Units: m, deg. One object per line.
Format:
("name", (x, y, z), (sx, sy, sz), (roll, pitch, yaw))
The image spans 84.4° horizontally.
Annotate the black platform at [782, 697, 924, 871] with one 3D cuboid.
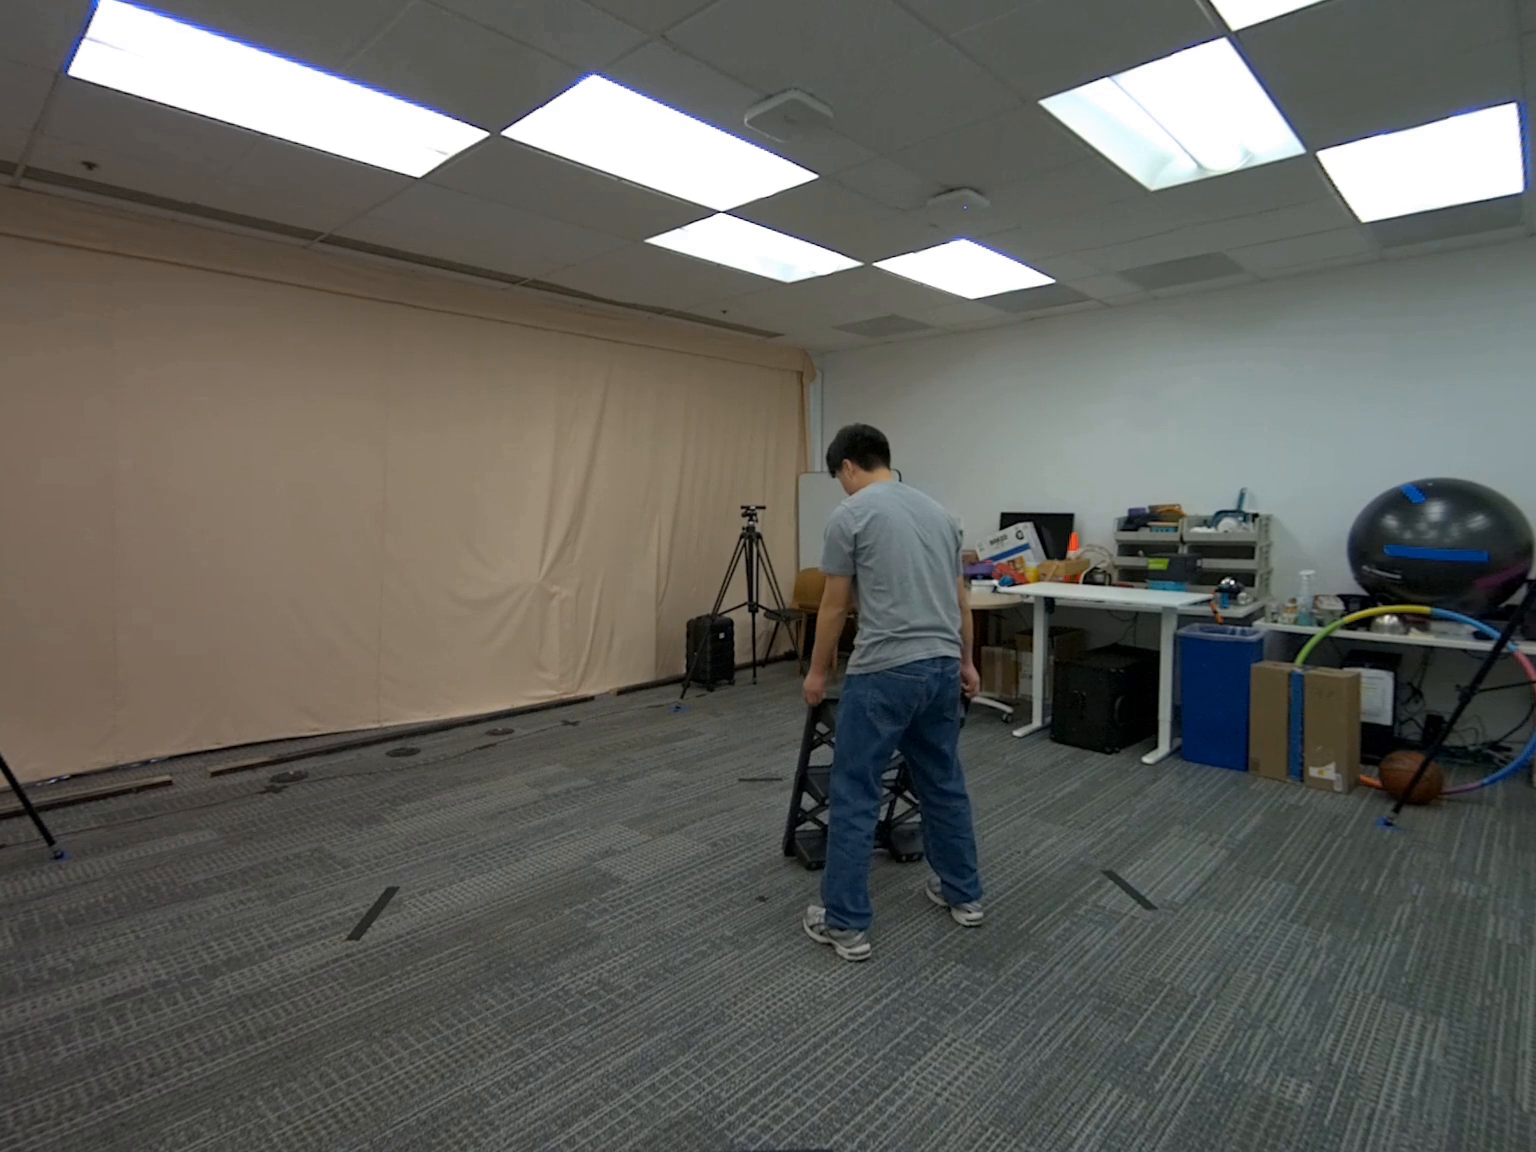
("black platform", (0.400, 0.776, 3.124), (0.598, 0.795, 0.147), (0, 31, -11))
